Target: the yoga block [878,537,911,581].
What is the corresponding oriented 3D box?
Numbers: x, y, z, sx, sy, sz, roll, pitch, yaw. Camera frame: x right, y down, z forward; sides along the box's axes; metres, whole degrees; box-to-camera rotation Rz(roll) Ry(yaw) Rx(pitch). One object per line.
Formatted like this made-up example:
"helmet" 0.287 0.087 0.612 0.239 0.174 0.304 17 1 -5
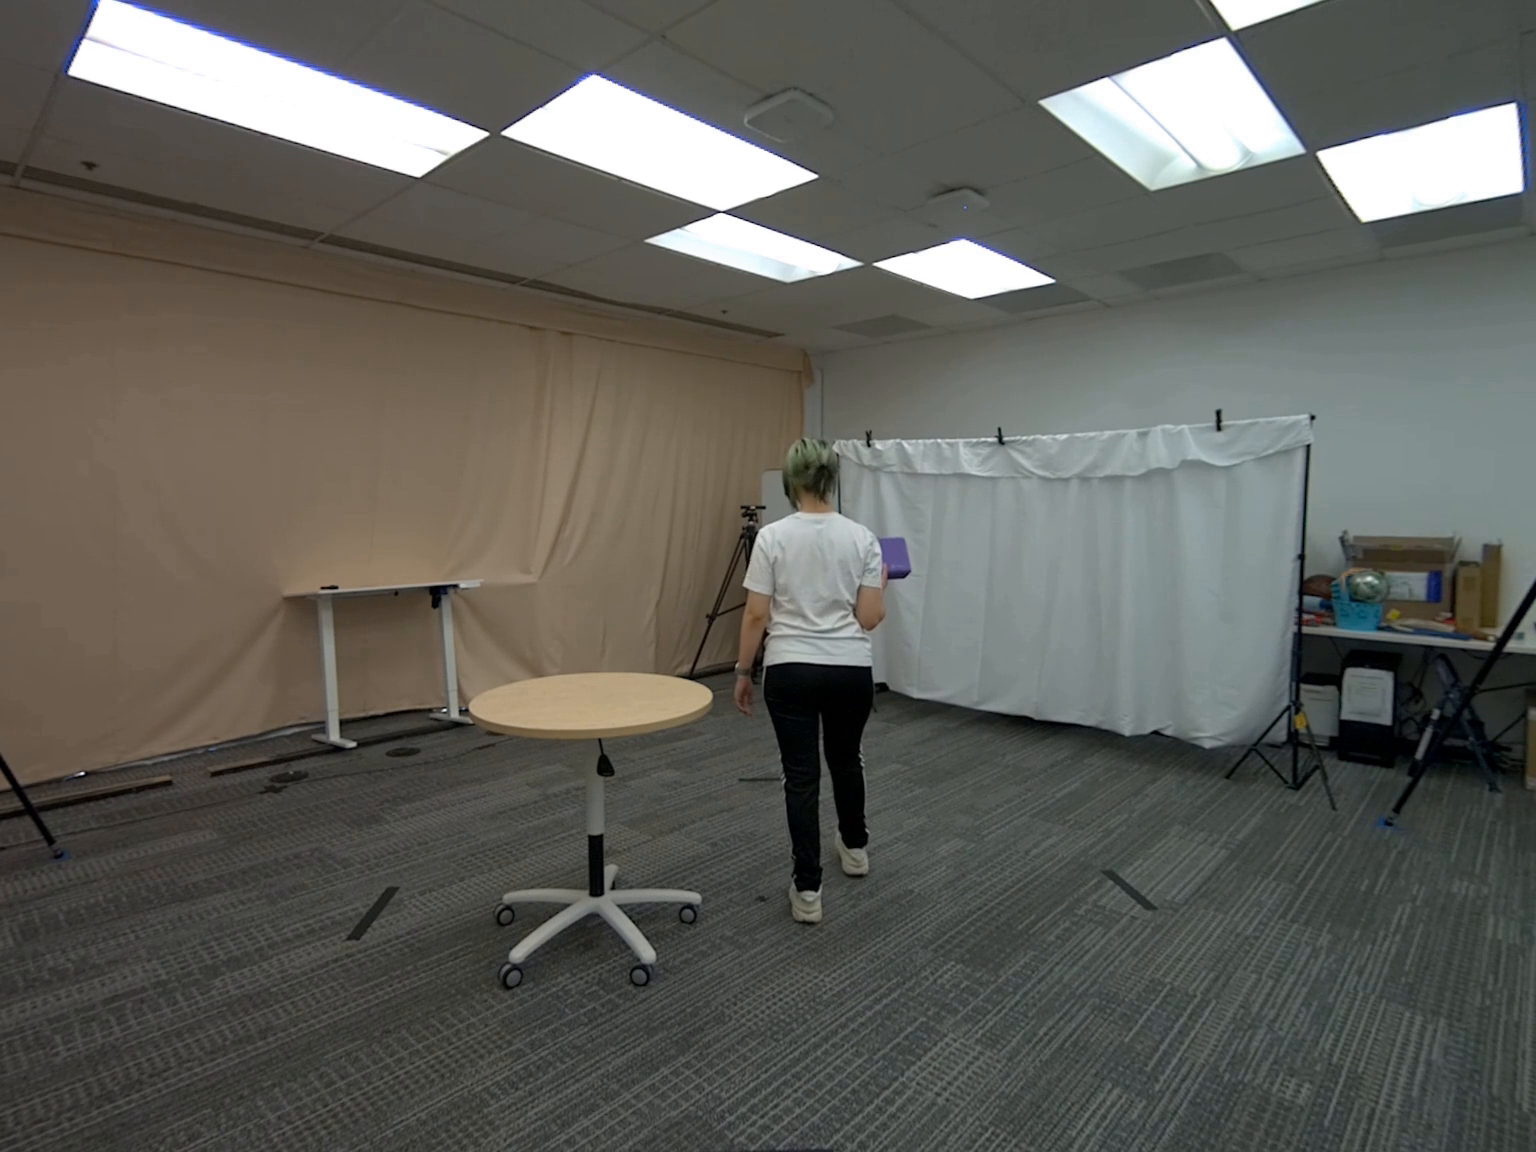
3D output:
"yoga block" 0.433 -0.066 3.179 0.227 0.151 0.076 -2 -23 -11
